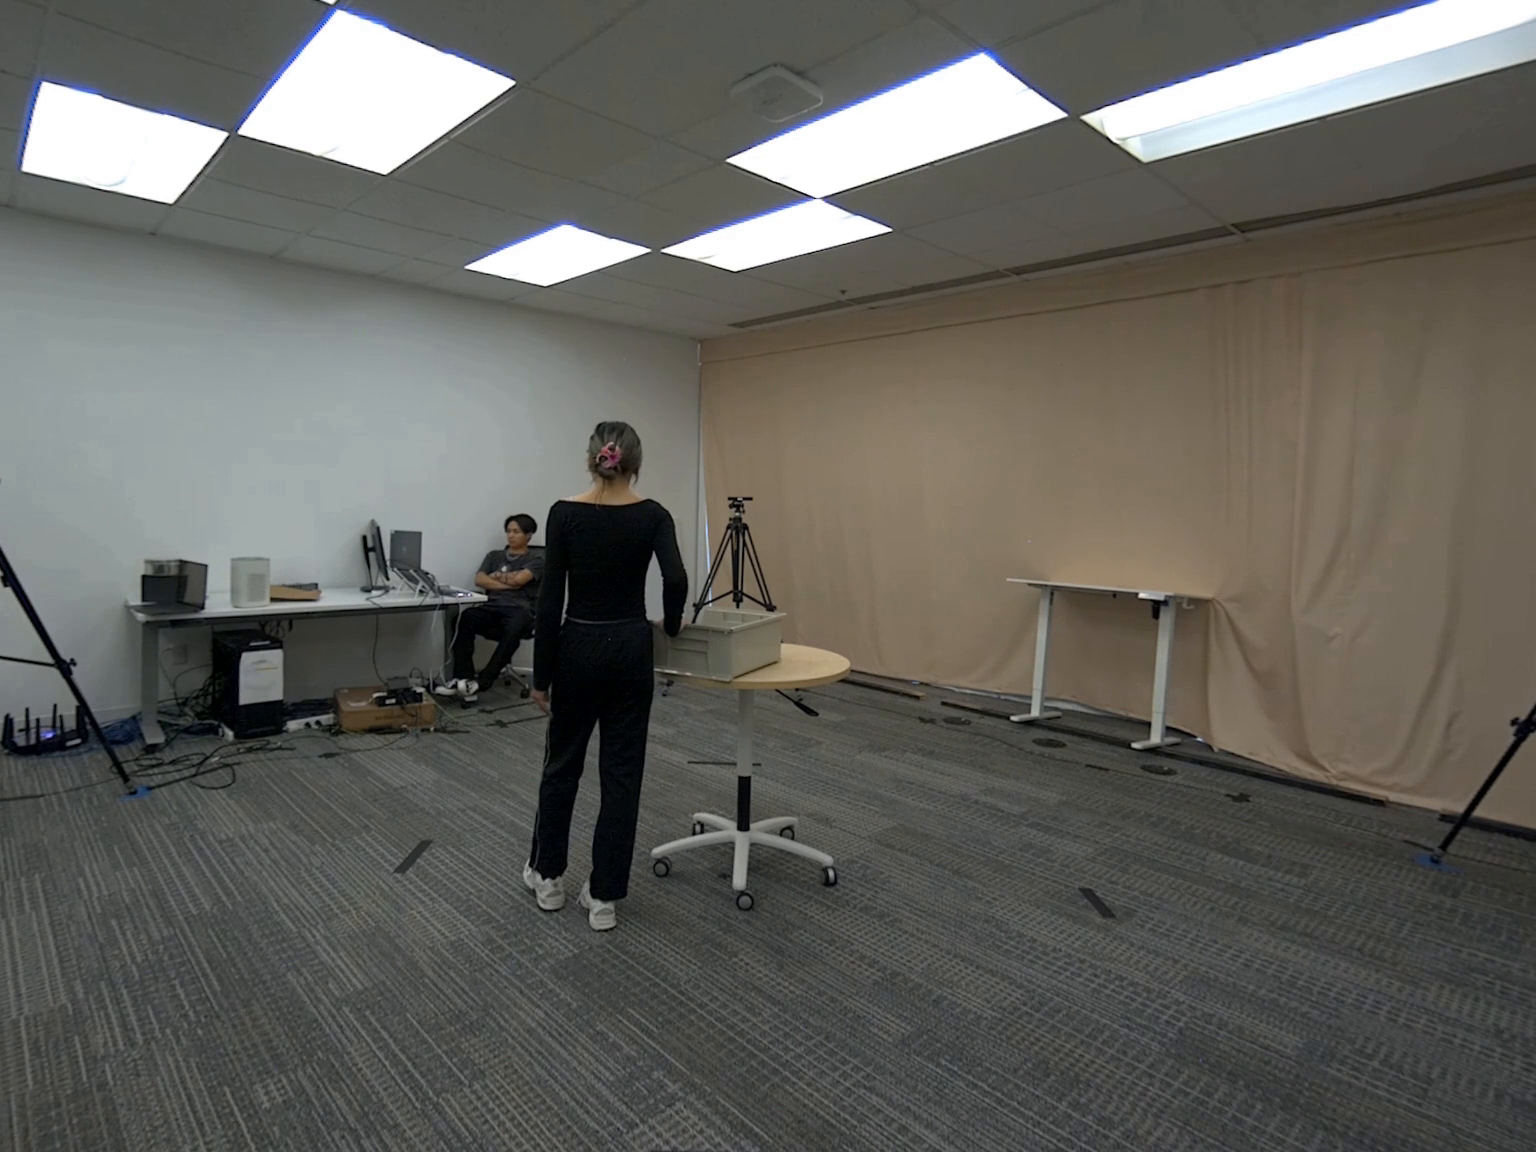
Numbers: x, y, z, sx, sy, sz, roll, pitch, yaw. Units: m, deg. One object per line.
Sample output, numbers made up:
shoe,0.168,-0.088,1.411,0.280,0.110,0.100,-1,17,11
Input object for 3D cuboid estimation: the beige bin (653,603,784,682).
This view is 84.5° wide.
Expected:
beige bin,-0.200,0.232,3.014,0.385,0.188,0.415,6,6,26
